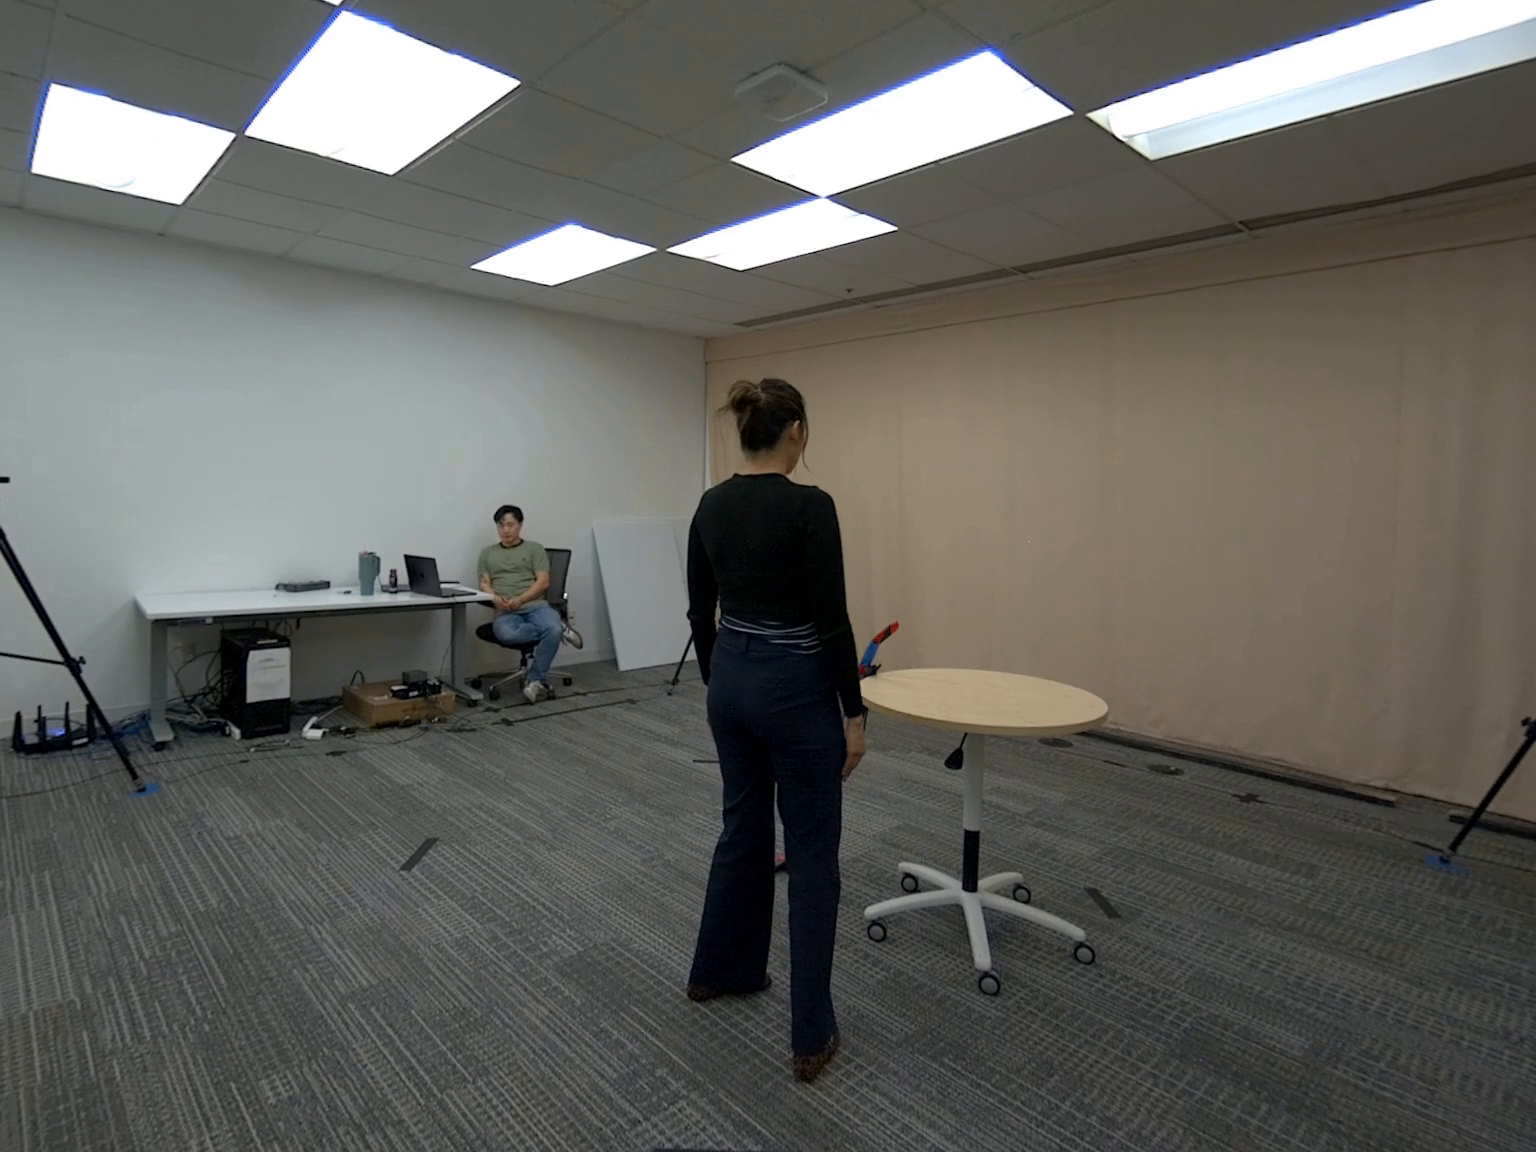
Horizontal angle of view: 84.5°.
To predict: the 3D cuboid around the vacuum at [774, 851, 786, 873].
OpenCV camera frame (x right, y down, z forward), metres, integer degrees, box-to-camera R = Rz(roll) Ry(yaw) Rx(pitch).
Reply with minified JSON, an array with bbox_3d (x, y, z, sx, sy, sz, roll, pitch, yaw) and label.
[{"bbox_3d":[0.250,0.637,3.032,0.148,1.041,0.247,33,22,35],"label":"vacuum"}]
